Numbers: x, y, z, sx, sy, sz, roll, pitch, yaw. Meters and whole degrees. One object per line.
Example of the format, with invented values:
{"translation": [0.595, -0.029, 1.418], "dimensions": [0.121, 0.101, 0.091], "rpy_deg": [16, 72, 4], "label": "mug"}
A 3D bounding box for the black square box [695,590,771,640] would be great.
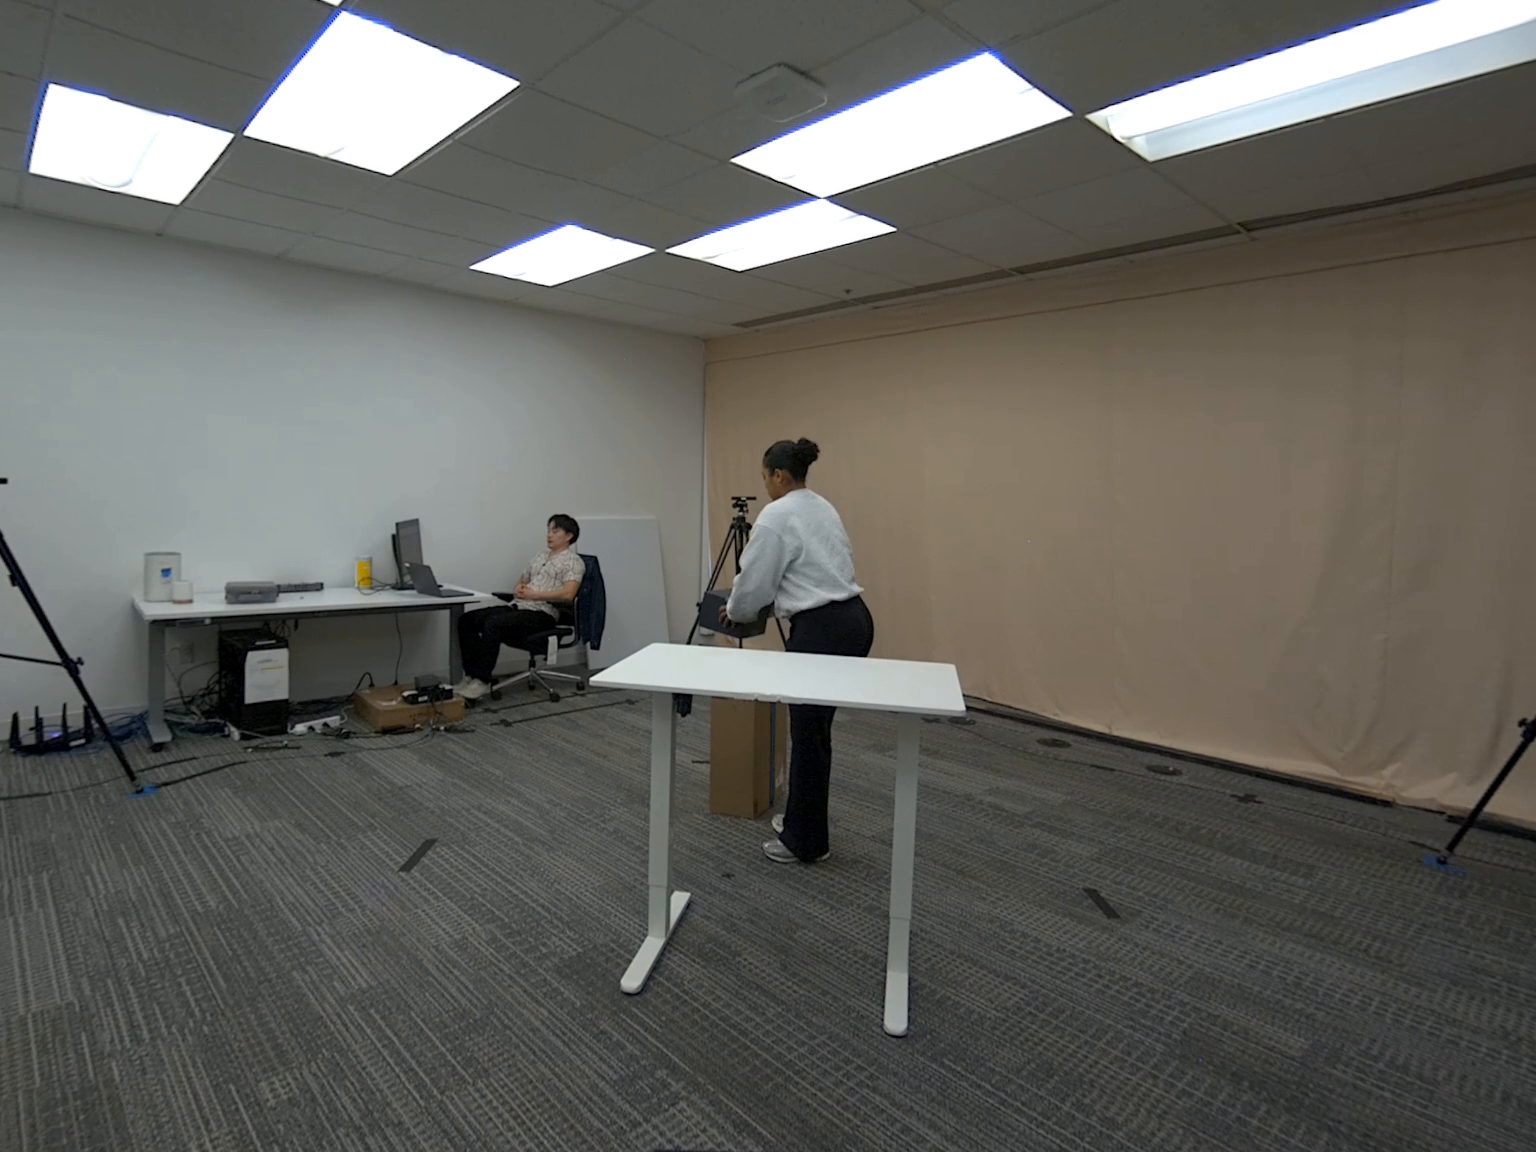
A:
{"translation": [-0.153, 0.164, 3.650], "dimensions": [0.222, 0.155, 0.224], "rpy_deg": [13, 9, 25], "label": "black square box"}
